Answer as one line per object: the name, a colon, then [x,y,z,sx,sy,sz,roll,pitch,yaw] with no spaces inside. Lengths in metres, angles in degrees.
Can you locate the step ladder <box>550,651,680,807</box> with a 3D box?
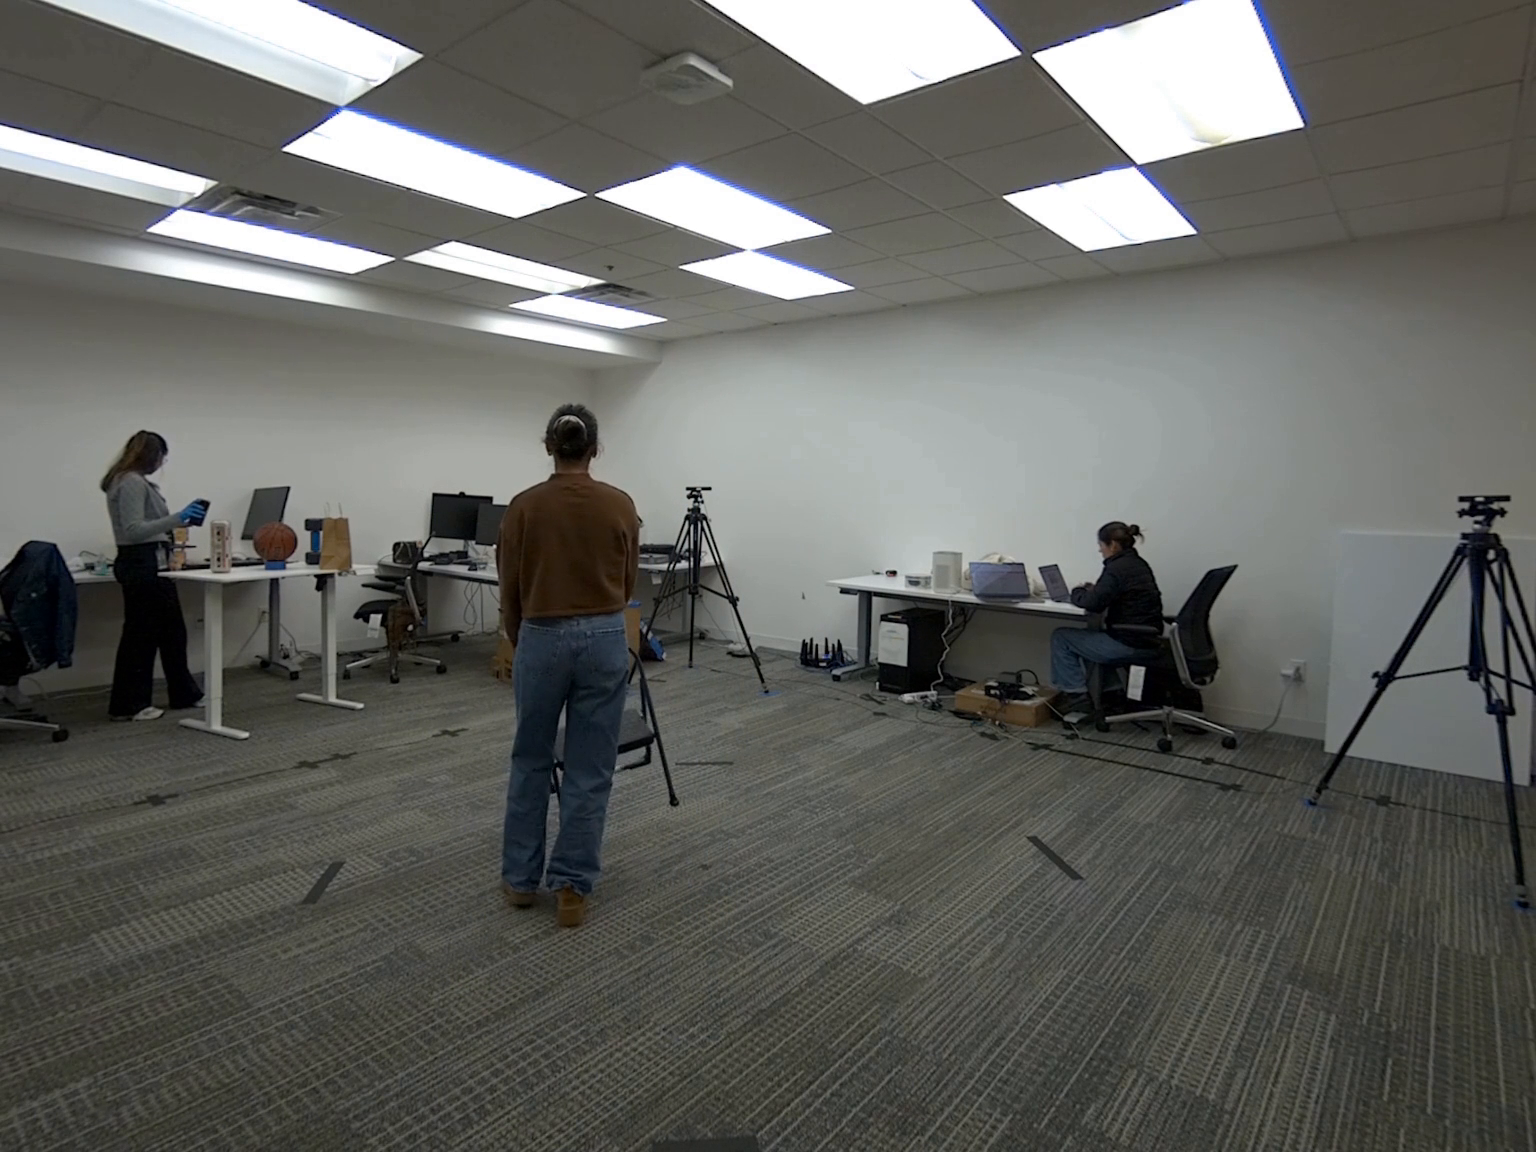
step ladder: [-0.627,0.551,3.109,0.424,0.596,0.361,-13,18,-20]
